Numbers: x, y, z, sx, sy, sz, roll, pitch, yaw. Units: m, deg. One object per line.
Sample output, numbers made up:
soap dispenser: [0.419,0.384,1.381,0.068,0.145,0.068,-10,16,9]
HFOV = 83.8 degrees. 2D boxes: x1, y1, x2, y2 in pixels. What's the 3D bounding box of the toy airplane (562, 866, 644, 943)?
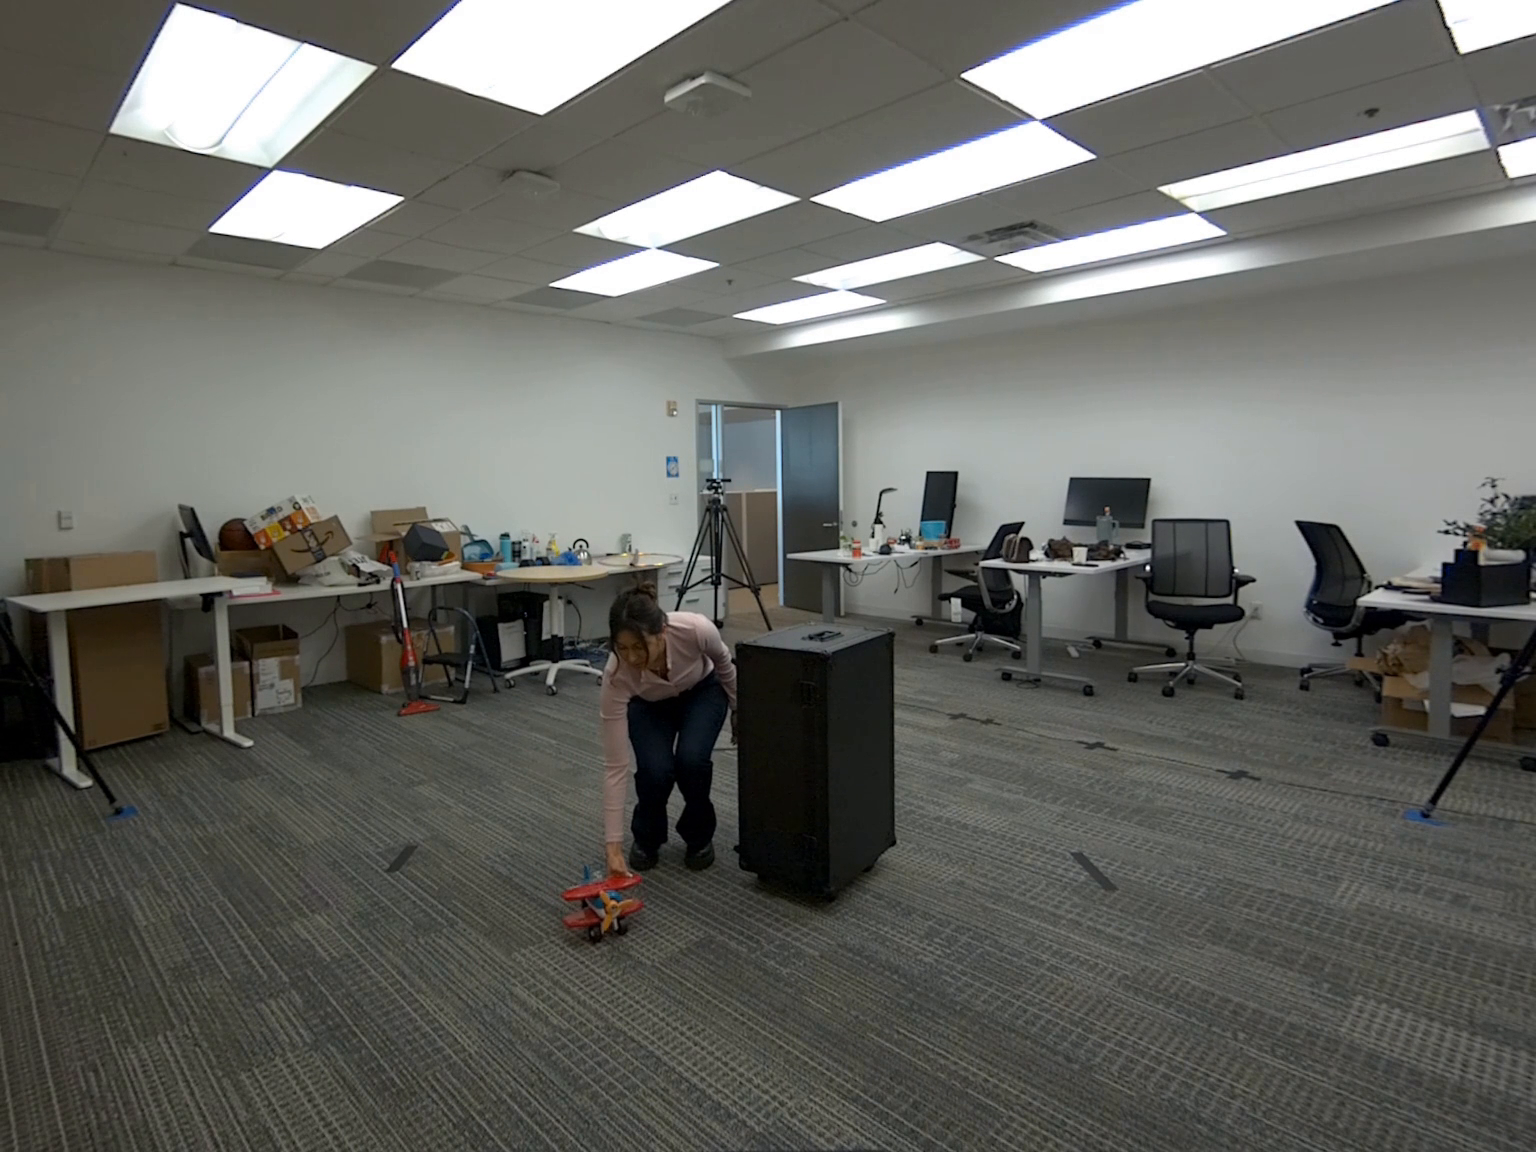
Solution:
toy airplane: [-0.542,1.025,2.671,0.267,0.155,0.246,10,12,30]
